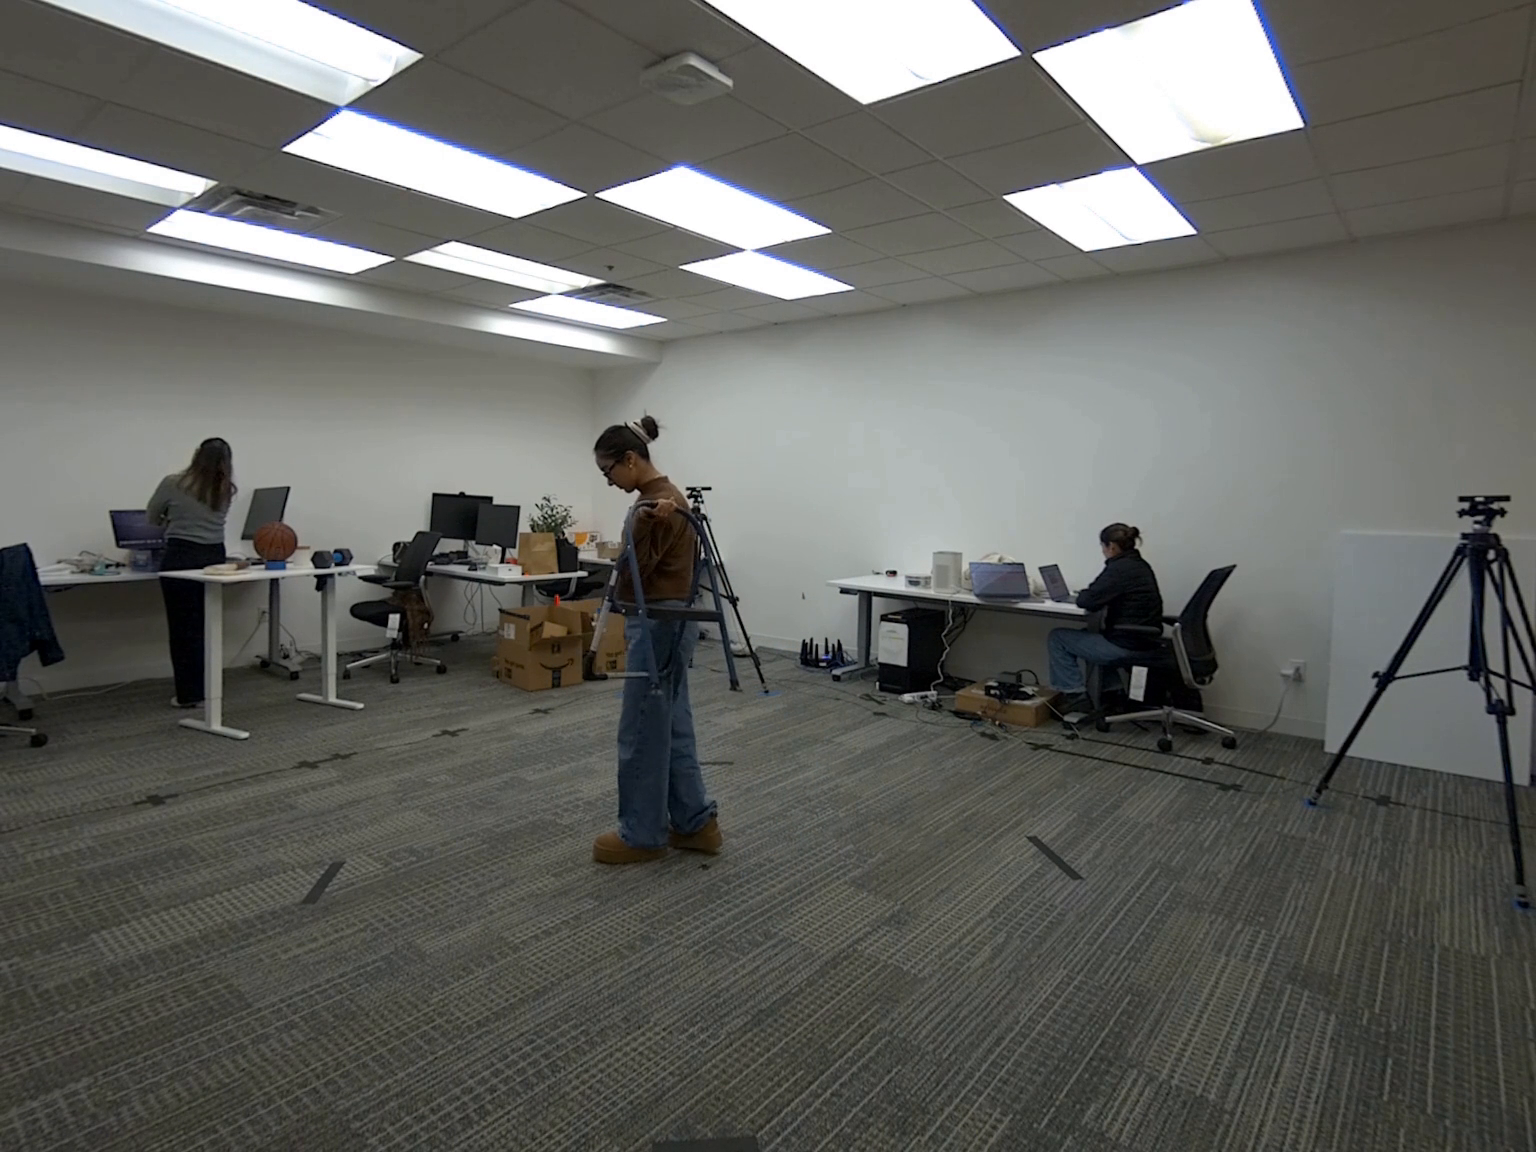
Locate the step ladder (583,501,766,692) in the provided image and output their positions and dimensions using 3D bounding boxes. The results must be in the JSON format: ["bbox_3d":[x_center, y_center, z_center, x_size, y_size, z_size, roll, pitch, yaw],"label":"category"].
[{"bbox_3d":[-0.320,0.058,2.822,0.361,0.608,0.415,3,-4,38],"label":"step ladder"}]
